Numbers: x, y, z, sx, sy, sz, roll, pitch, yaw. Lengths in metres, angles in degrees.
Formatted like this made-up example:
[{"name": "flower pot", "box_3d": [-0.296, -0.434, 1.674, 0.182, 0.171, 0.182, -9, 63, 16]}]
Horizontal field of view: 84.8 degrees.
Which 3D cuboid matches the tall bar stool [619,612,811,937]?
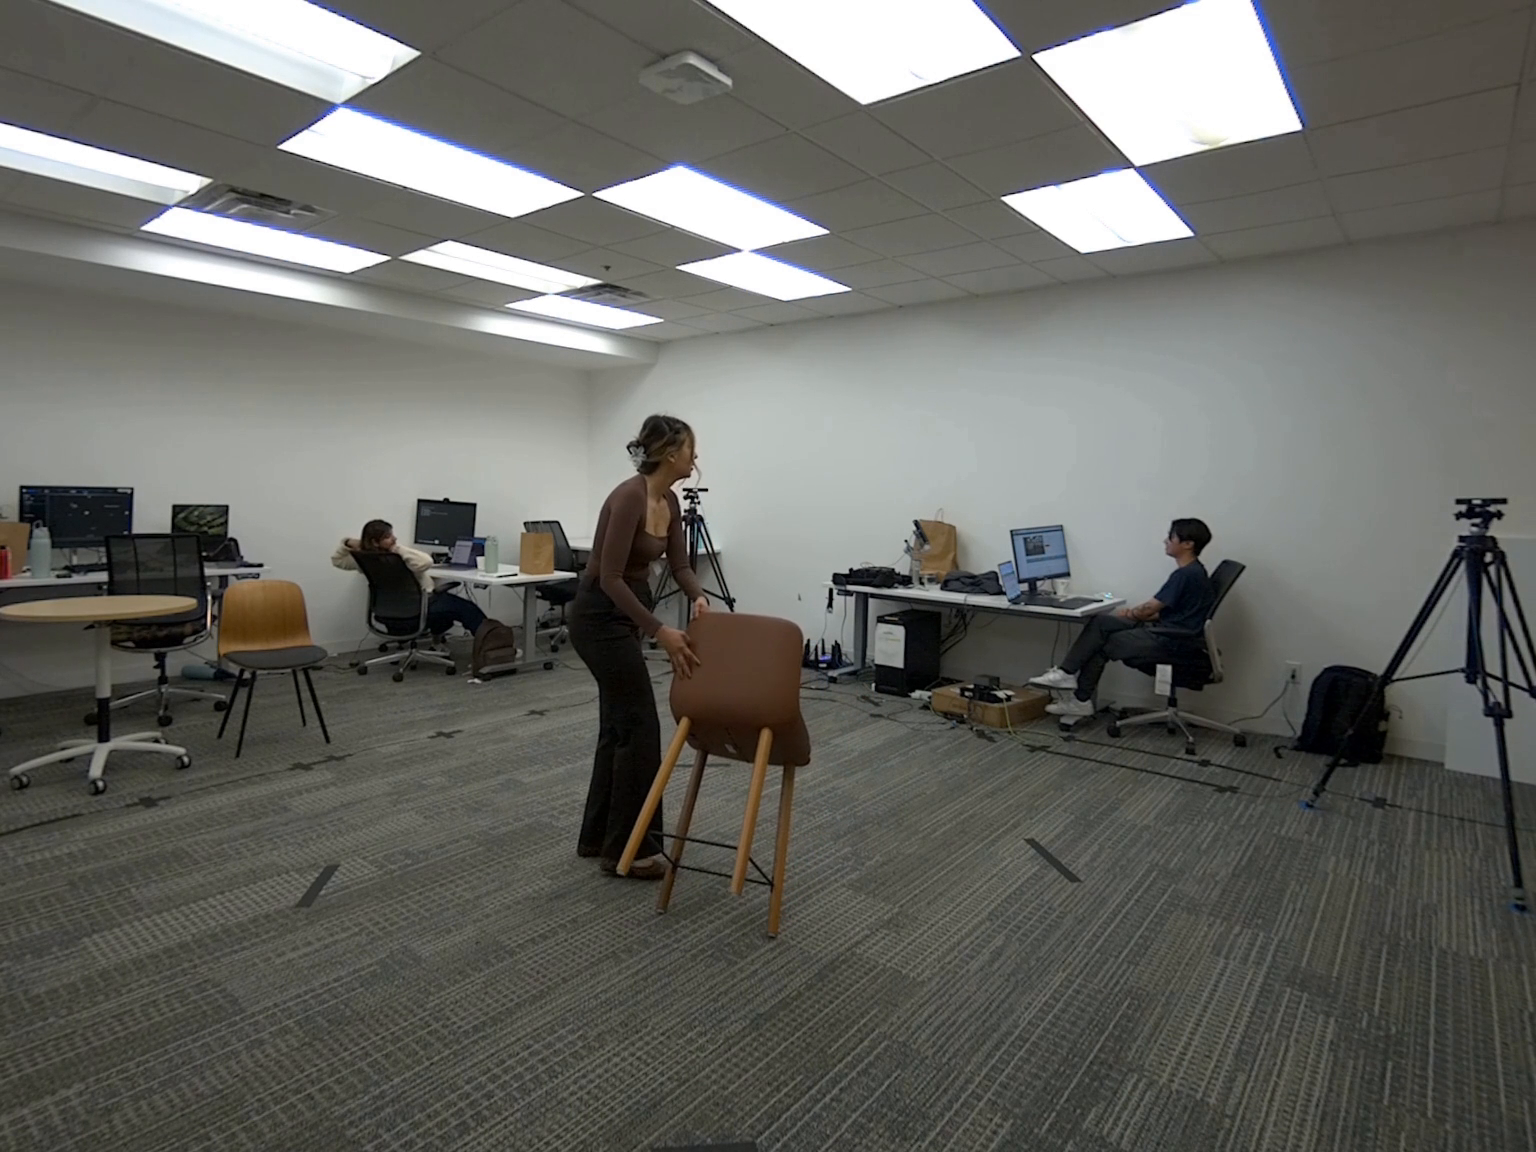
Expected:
[{"name": "tall bar stool", "box_3d": [-0.128, 0.621, 2.781, 0.466, 0.906, 0.450, 2, -33, 18]}]
